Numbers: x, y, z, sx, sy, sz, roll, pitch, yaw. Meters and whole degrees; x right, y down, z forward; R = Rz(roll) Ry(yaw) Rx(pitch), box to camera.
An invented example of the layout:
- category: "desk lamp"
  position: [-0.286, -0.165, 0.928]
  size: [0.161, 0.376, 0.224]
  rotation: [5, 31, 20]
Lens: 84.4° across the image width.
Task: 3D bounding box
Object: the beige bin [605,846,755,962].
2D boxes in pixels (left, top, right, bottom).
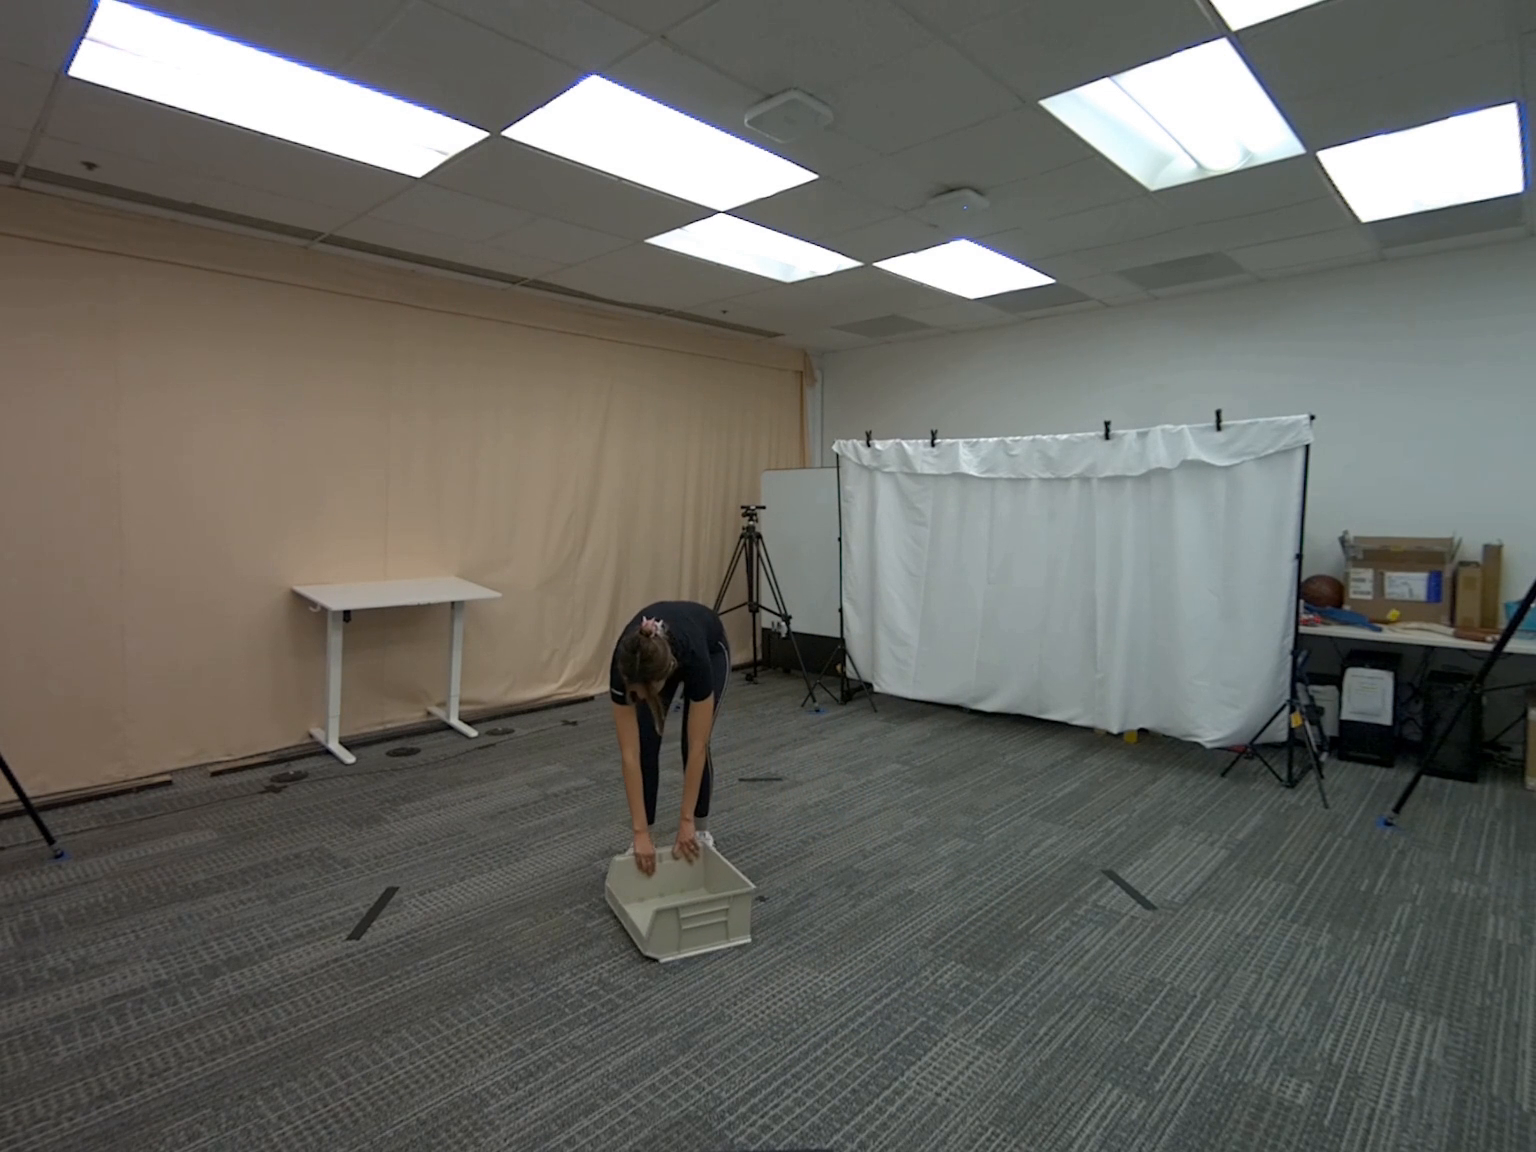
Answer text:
- category: "beige bin"
  position: [-0.296, 1.068, 2.802]
  size: [0.368, 0.189, 0.433]
  rotation: [-1, 3, -27]
